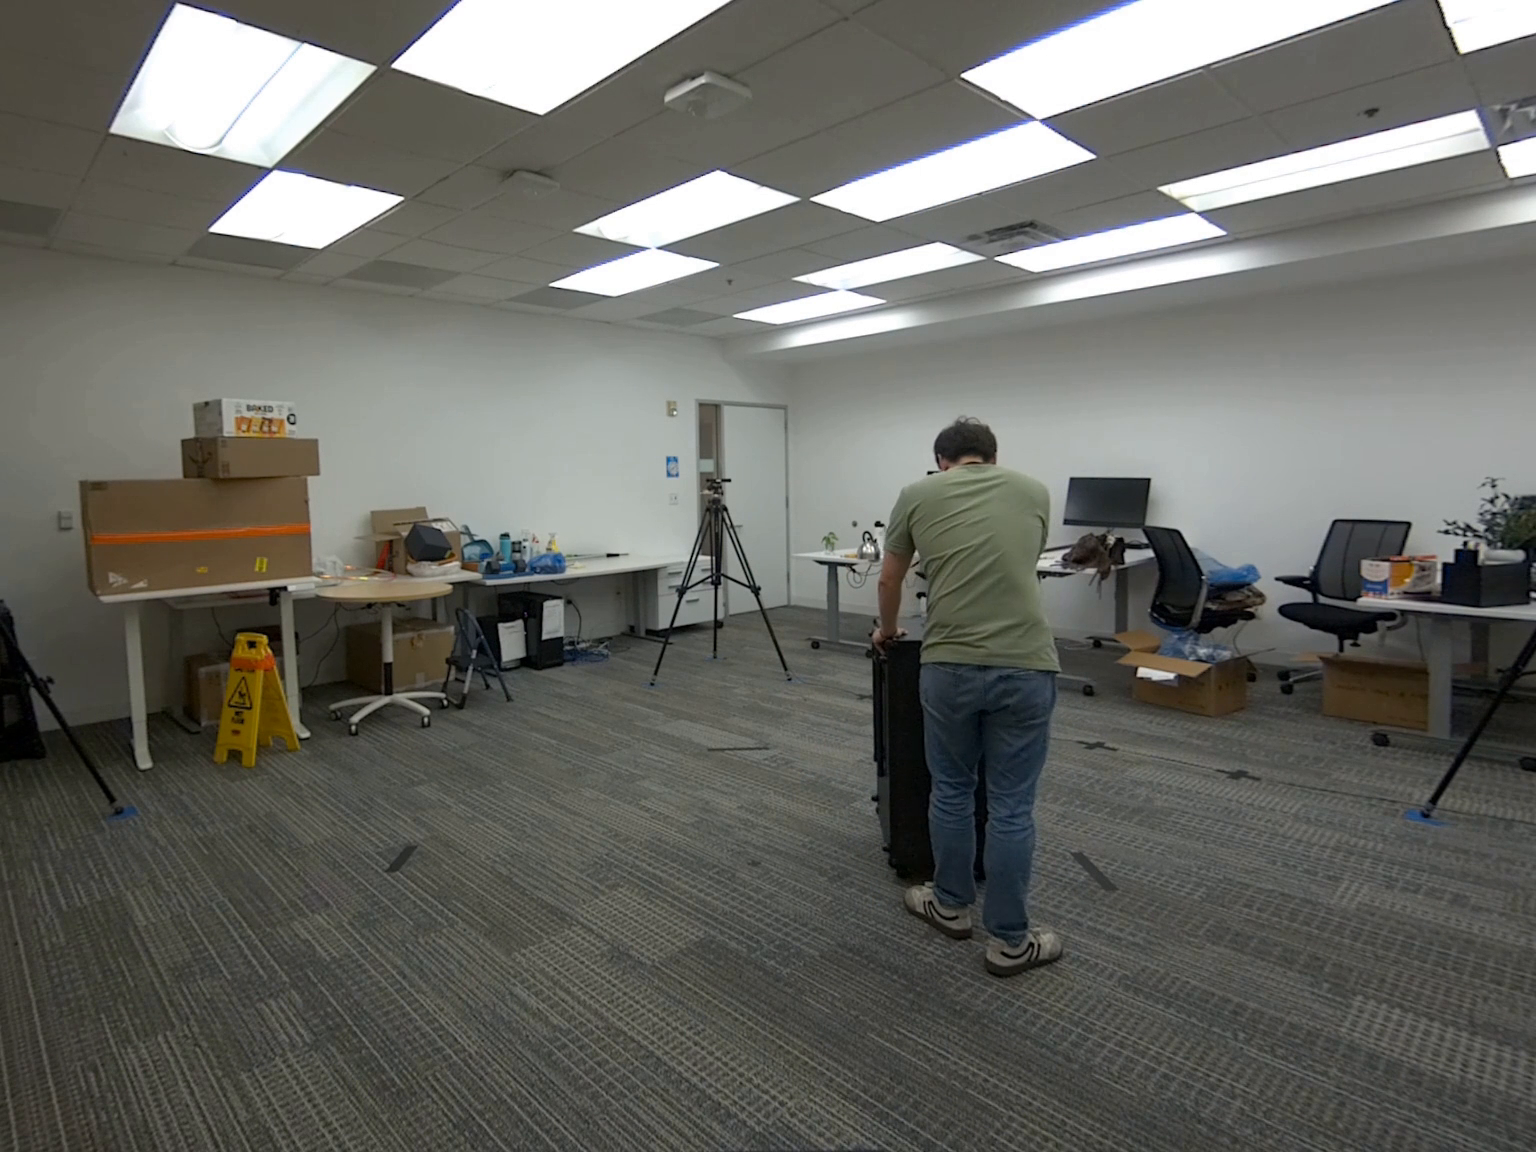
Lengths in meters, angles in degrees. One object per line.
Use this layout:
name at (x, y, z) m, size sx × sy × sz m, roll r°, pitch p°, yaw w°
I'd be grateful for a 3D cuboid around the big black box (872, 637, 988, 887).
big black box at (0.583, 0.616, 3.094) m, size 0.398 × 0.859 × 0.520 m, roll -2°, pitch 4°, yaw 4°
